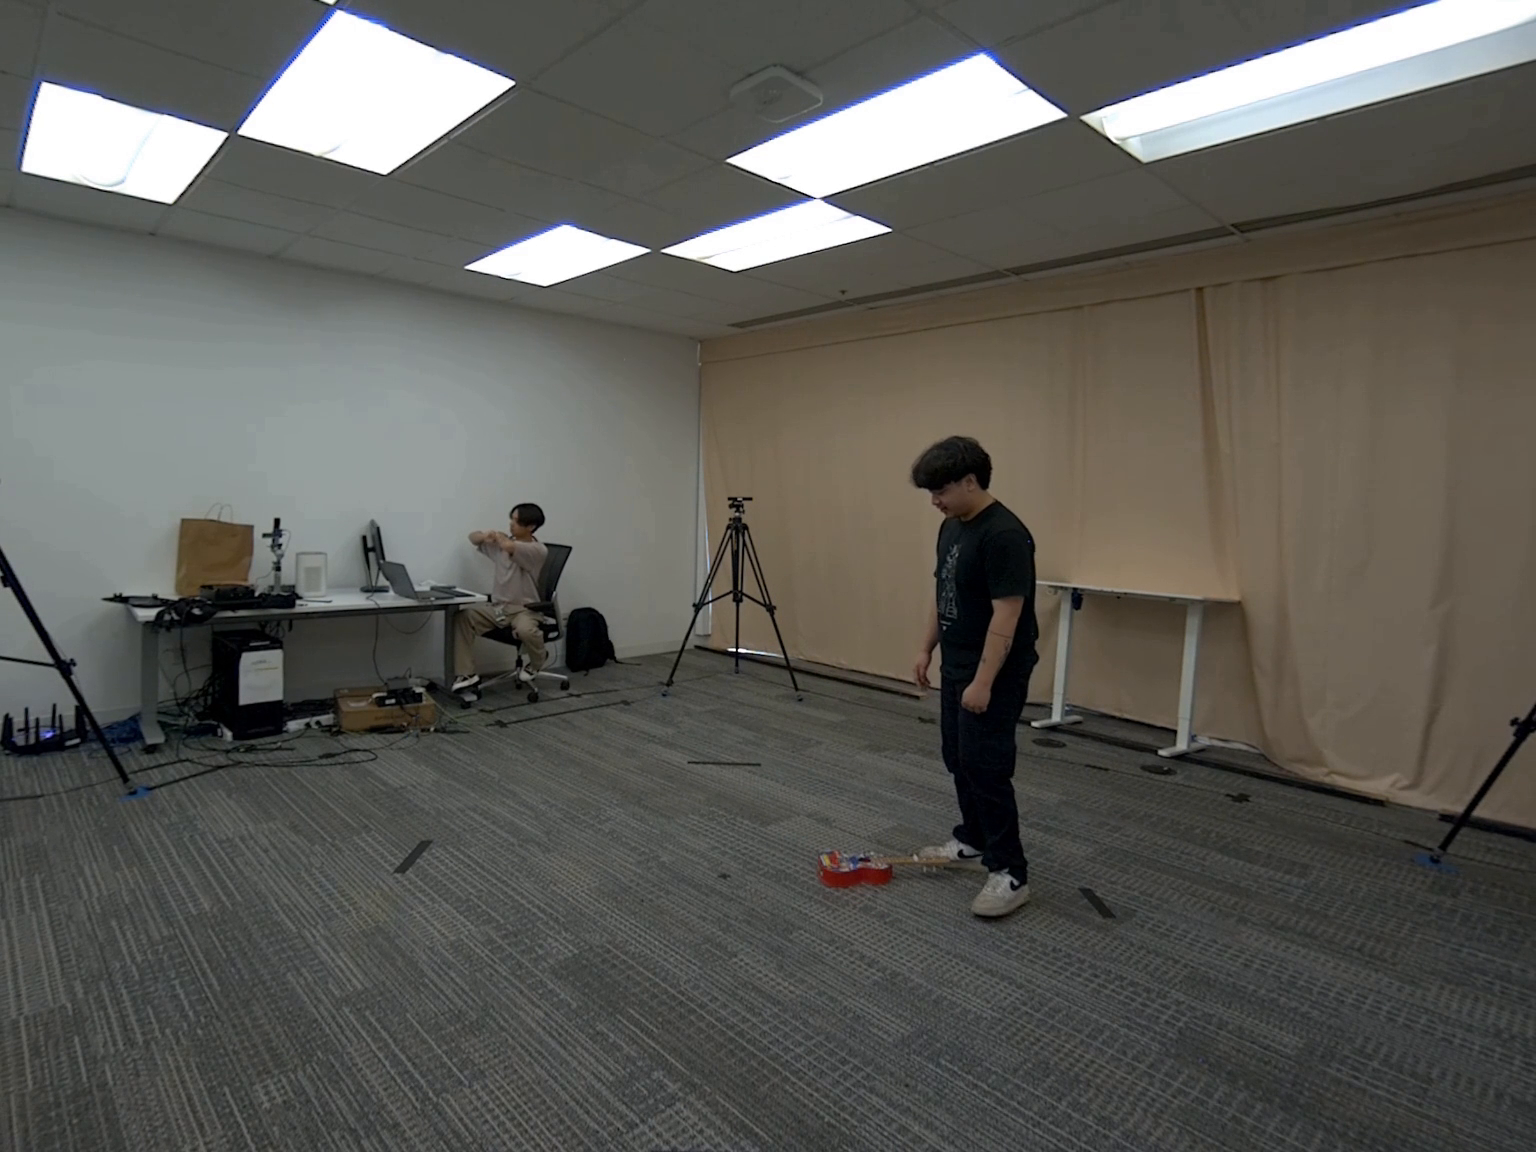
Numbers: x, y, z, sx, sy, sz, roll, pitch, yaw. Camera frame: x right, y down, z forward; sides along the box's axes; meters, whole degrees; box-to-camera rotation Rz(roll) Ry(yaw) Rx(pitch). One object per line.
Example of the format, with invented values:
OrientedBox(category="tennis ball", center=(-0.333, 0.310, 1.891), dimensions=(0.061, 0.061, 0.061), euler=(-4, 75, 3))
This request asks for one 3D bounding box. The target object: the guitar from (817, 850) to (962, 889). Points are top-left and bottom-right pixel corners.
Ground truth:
OrientedBox(category="guitar", center=(0.428, 1.084, 3.111), dimensions=(0.499, 0.070, 0.193), euler=(1, 5, 2))
